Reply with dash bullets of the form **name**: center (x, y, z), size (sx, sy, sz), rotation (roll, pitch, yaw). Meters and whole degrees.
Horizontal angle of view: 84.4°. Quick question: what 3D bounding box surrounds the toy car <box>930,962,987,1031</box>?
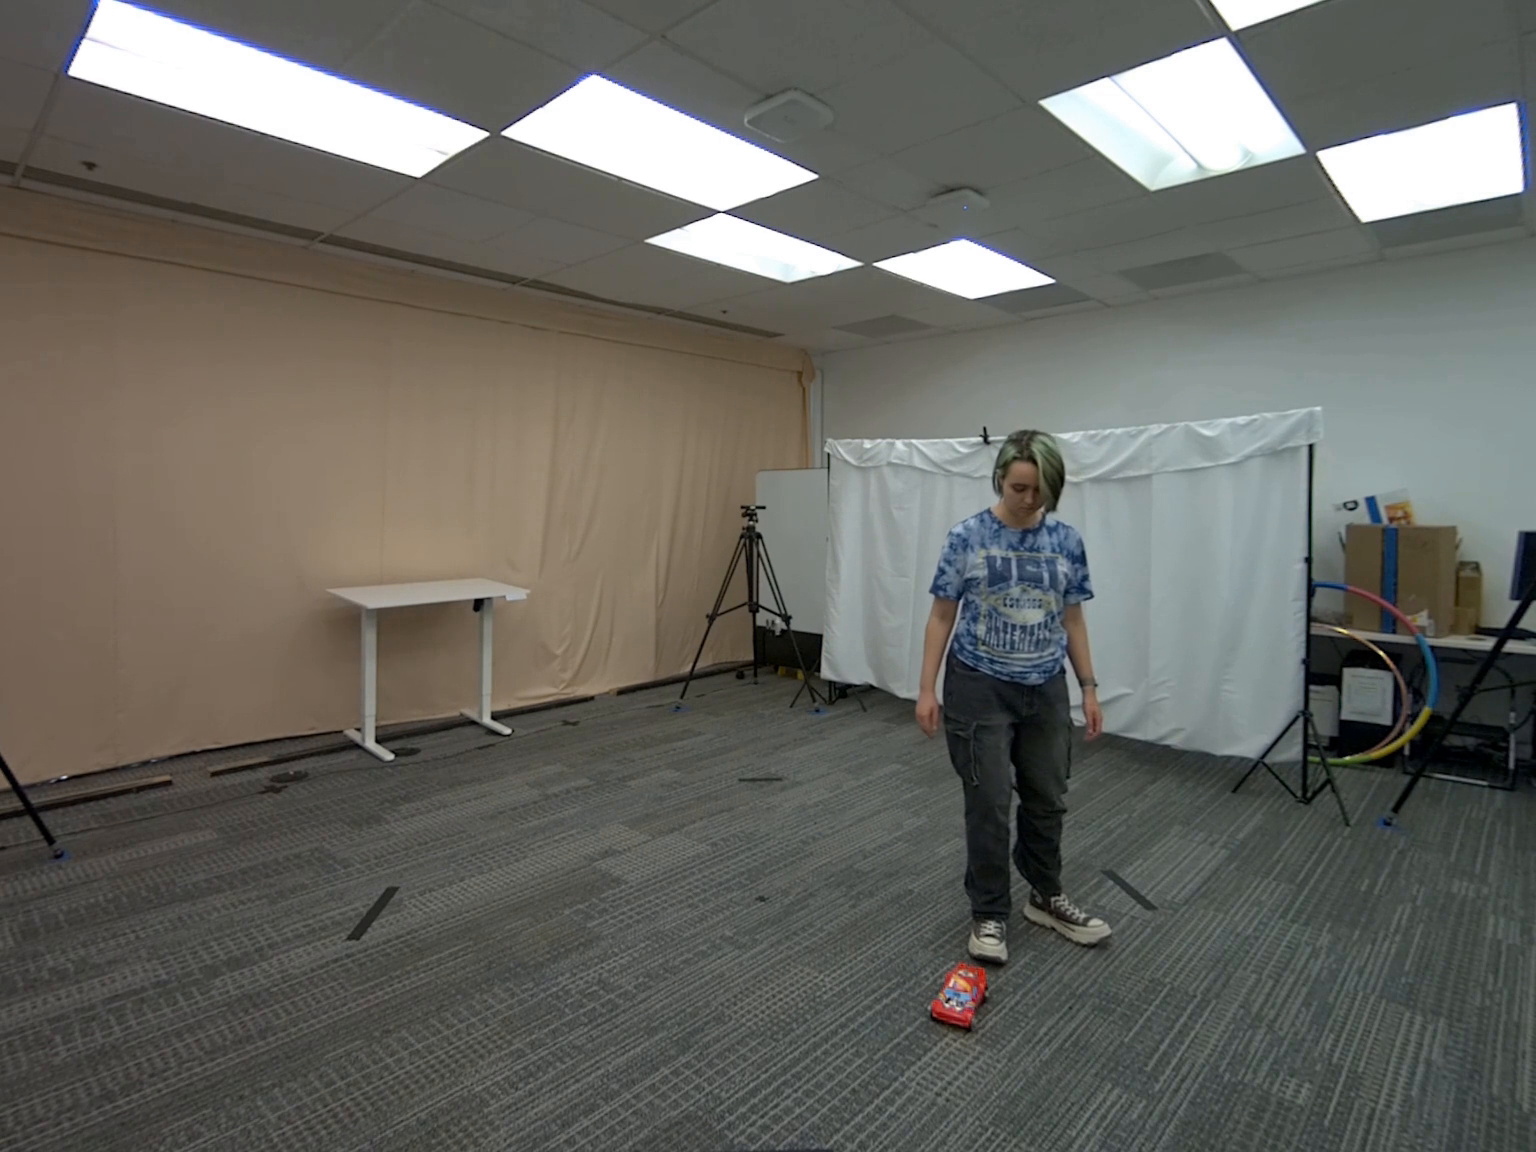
- **toy car**: center (0.547, 1.167, 2.337), size (0.134, 0.082, 0.250), rotation (1, 15, 29)
